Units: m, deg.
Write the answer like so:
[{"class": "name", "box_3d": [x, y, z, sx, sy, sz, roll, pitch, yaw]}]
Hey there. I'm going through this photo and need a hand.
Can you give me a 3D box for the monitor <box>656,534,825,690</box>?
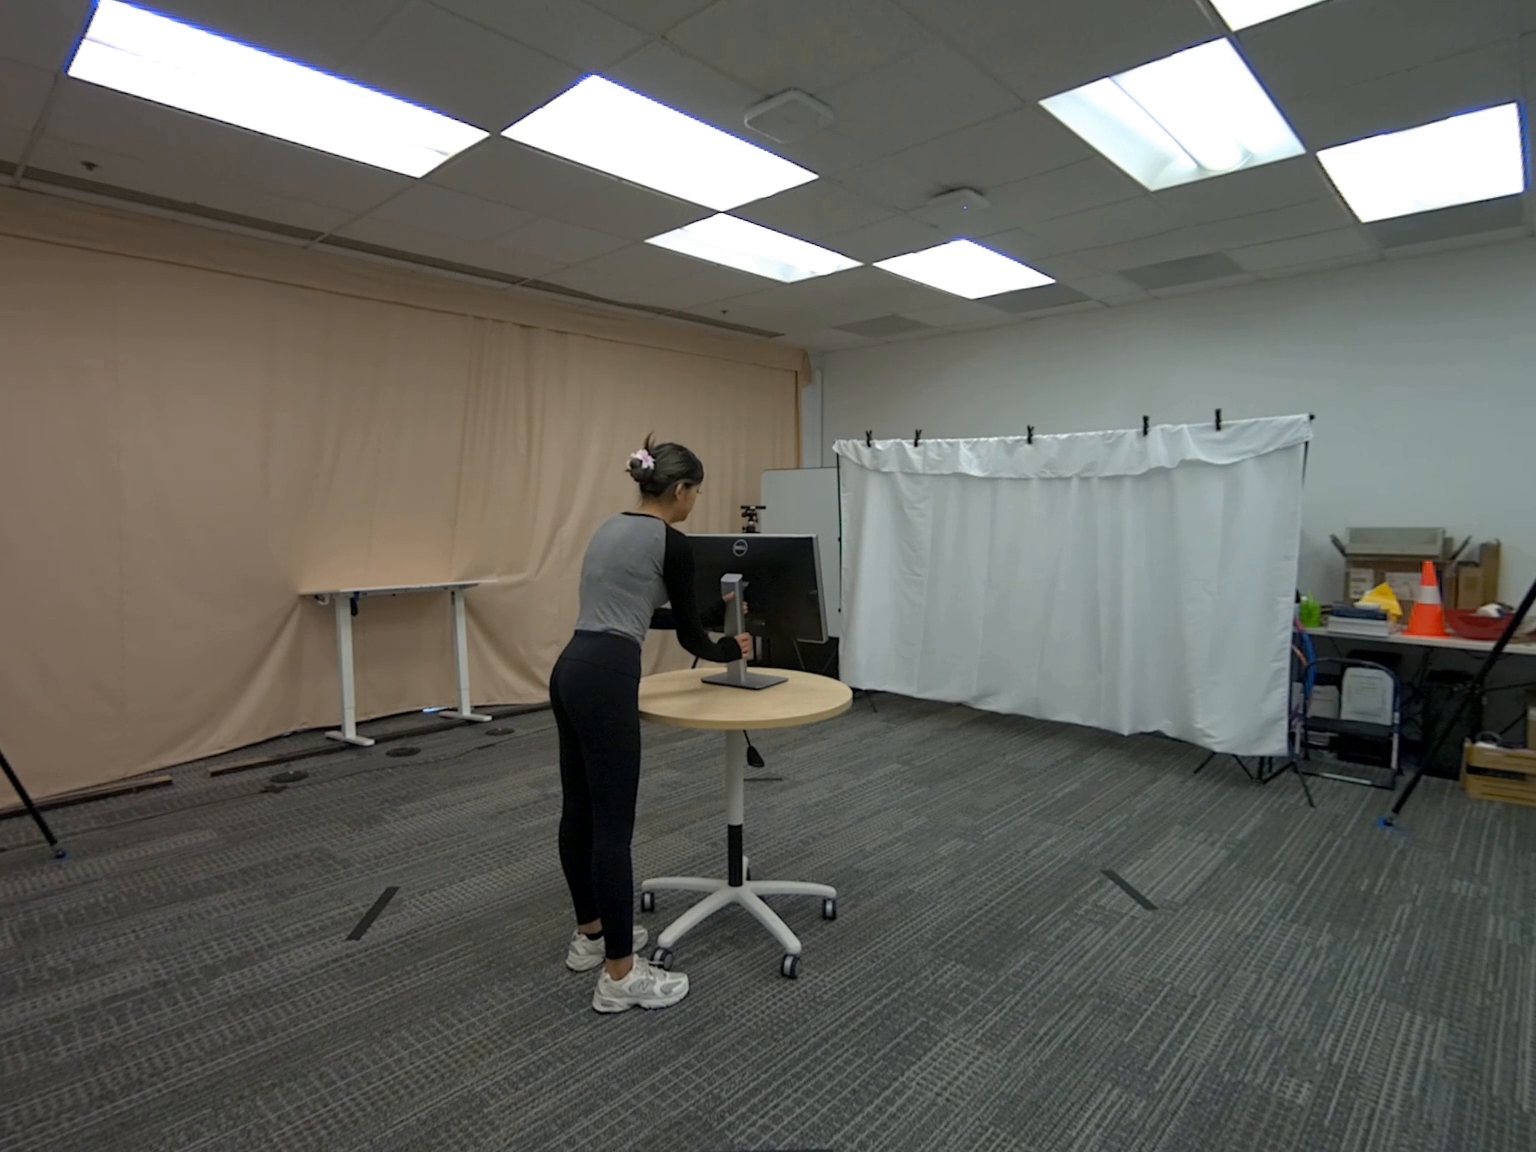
[{"class": "monitor", "box_3d": [-0.076, 0.116, 2.877, 0.546, 0.517, 0.169, 1, -4, 35]}]
